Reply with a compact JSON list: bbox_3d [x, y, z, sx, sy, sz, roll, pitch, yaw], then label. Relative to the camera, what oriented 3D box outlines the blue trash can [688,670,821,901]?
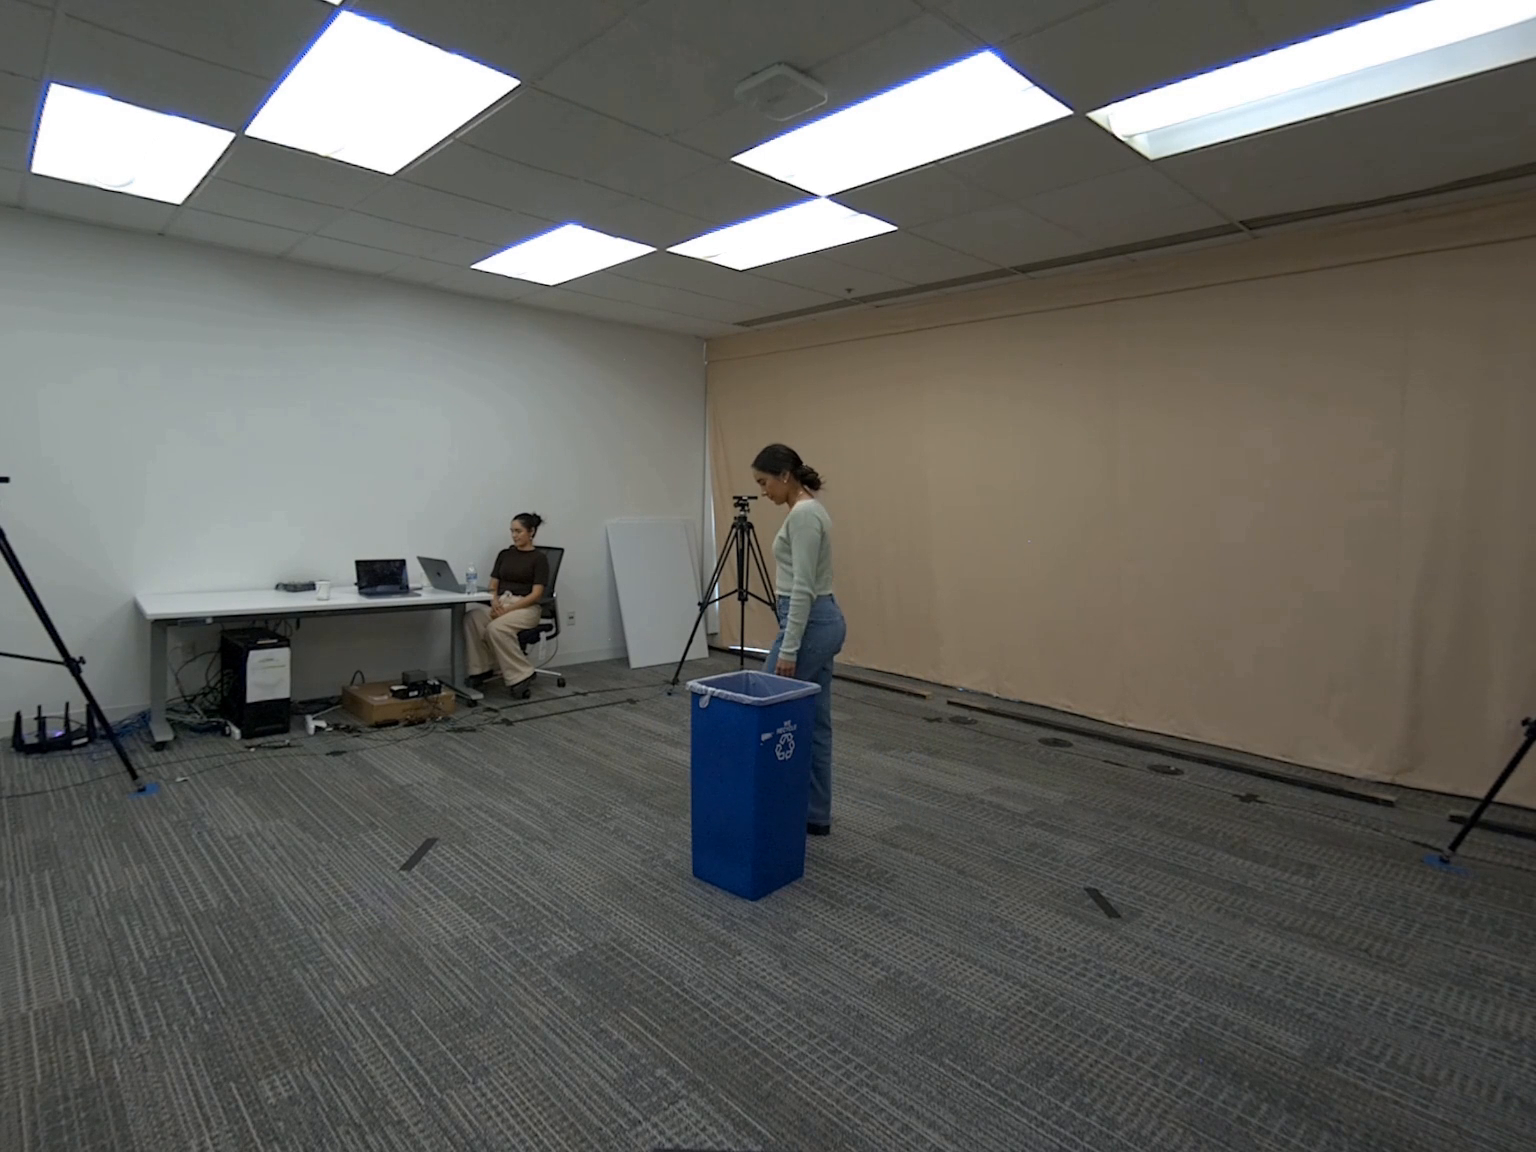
[{"bbox_3d":[-0.068,0.746,3.091,0.387,0.712,0.365,5,5,41],"label":"blue trash can"}]
